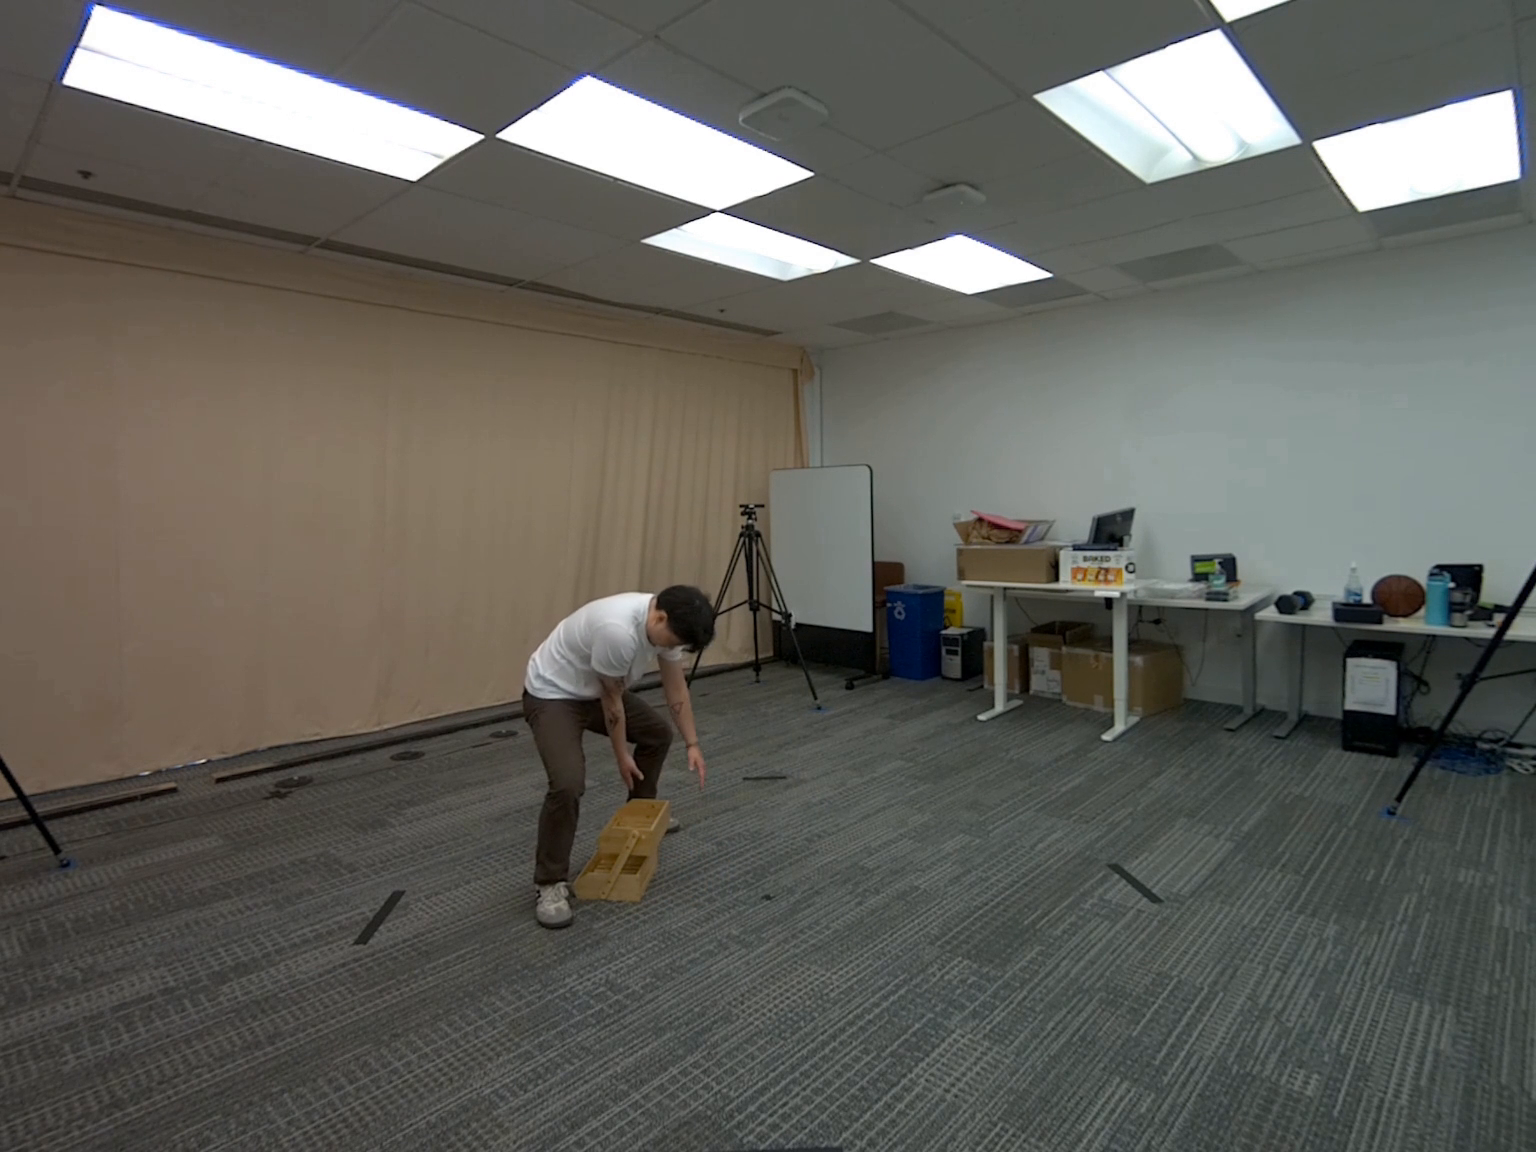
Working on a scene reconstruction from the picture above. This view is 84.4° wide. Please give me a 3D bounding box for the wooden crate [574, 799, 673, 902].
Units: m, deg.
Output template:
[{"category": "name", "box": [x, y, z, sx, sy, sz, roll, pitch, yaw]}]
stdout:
[{"category": "wooden crate", "box": [-0.546, 1.011, 3.126, 0.304, 0.273, 0.322, 0, 4, 7]}]
